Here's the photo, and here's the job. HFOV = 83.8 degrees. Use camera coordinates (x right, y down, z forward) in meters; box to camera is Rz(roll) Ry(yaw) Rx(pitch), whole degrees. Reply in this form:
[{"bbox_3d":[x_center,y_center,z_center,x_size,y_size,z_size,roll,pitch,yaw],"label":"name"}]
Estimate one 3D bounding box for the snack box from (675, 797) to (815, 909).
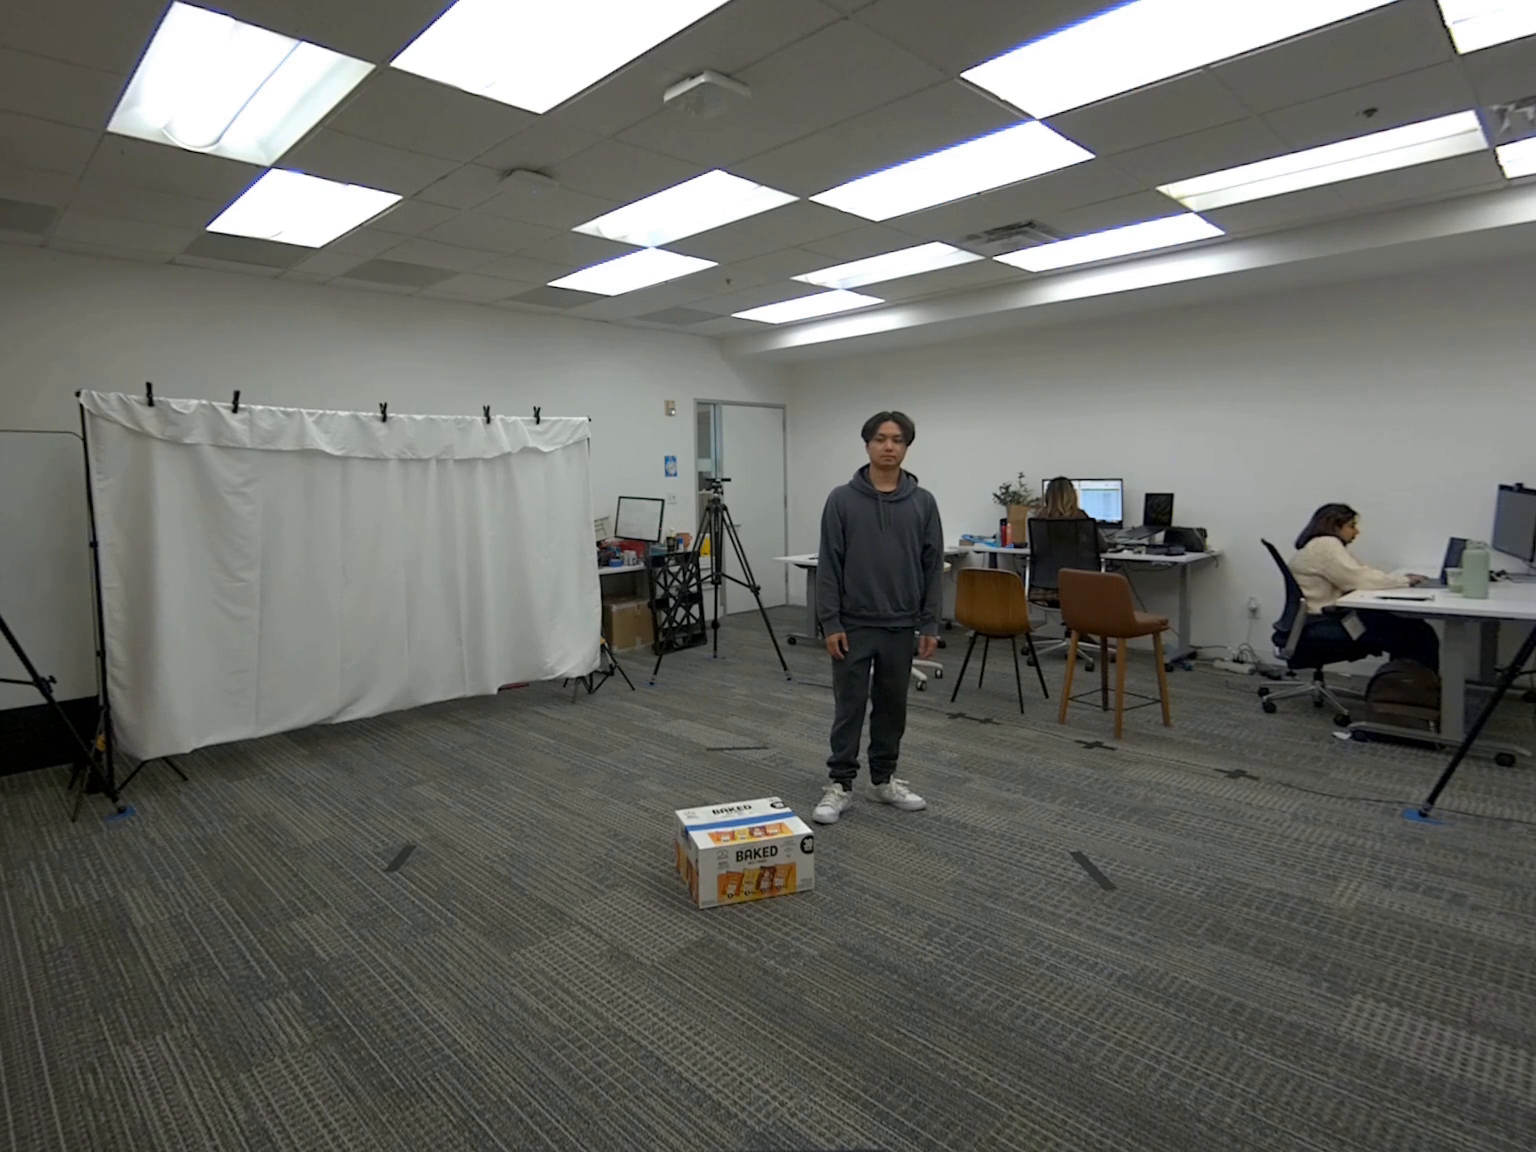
[{"bbox_3d":[-0.087,0.954,2.983,0.399,0.205,0.347,-3,6,-18],"label":"snack box"}]
